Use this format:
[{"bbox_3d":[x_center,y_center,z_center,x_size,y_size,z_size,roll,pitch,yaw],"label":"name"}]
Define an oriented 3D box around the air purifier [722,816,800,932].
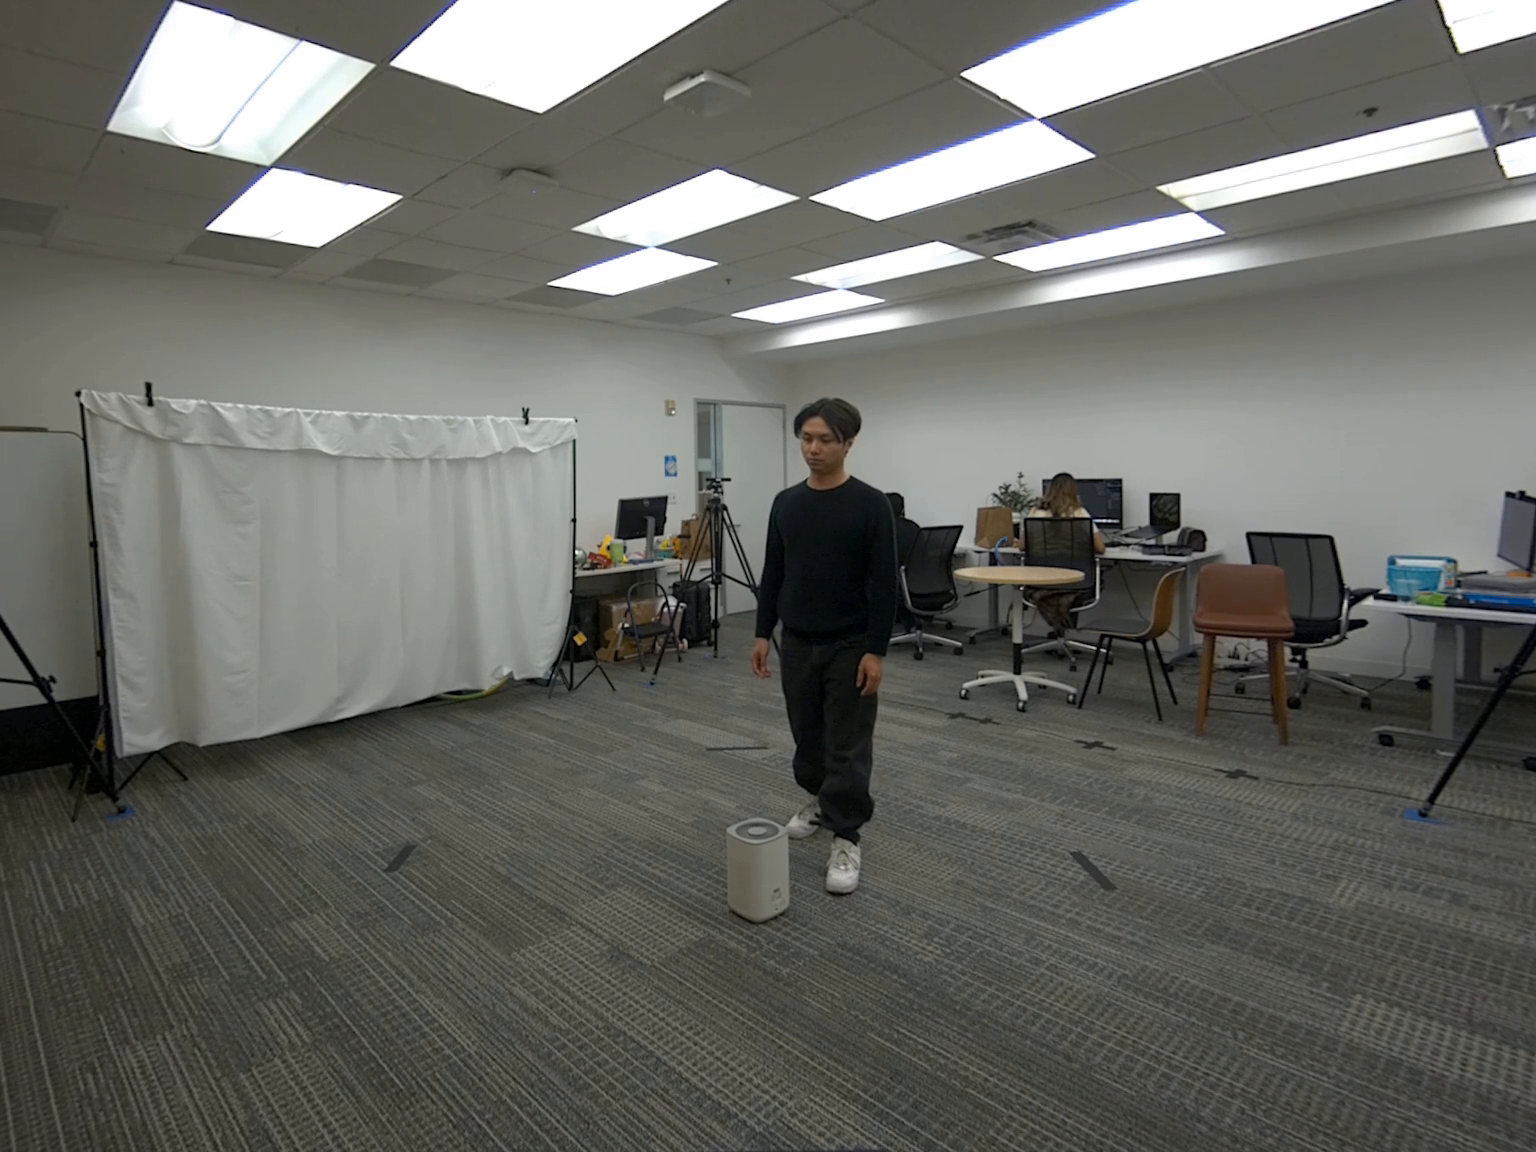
[{"bbox_3d":[-0.024,0.949,2.757,0.166,0.264,0.177,-5,5,-43],"label":"air purifier"}]
